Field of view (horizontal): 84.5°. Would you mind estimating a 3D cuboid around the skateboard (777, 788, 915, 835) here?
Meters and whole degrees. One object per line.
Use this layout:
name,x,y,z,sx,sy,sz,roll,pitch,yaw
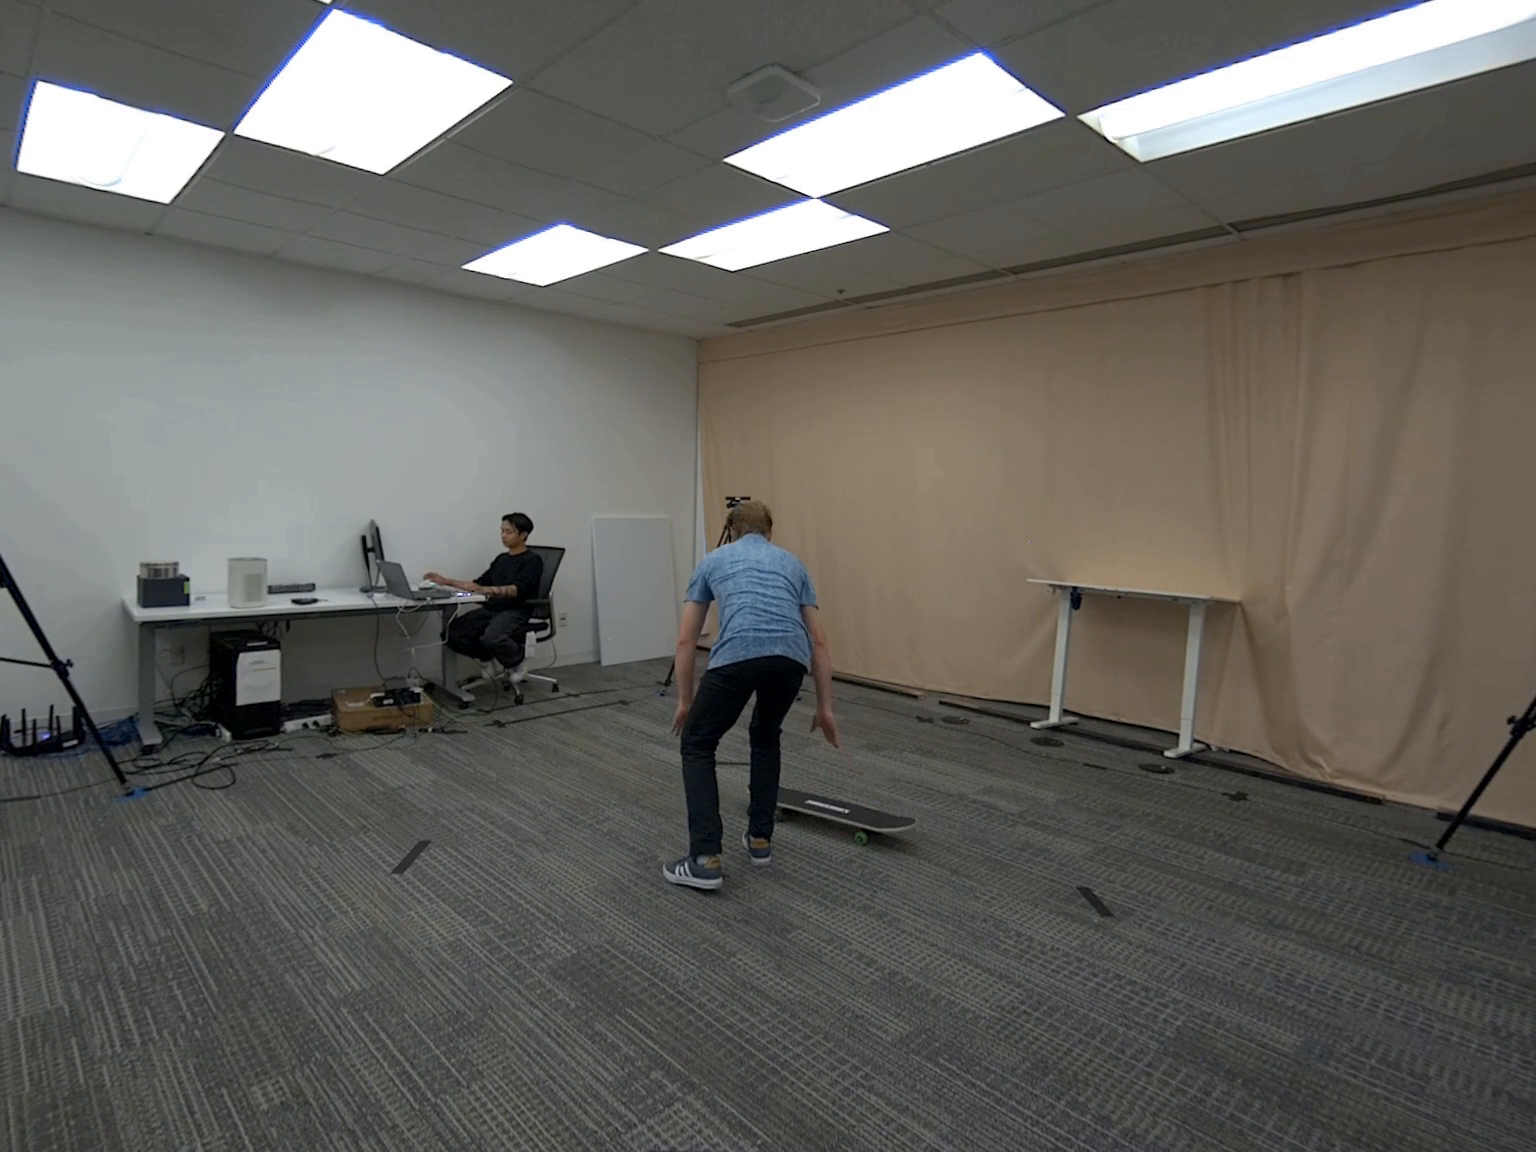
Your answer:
skateboard,0.244,1.019,3.602,0.804,0.110,0.189,5,5,34
